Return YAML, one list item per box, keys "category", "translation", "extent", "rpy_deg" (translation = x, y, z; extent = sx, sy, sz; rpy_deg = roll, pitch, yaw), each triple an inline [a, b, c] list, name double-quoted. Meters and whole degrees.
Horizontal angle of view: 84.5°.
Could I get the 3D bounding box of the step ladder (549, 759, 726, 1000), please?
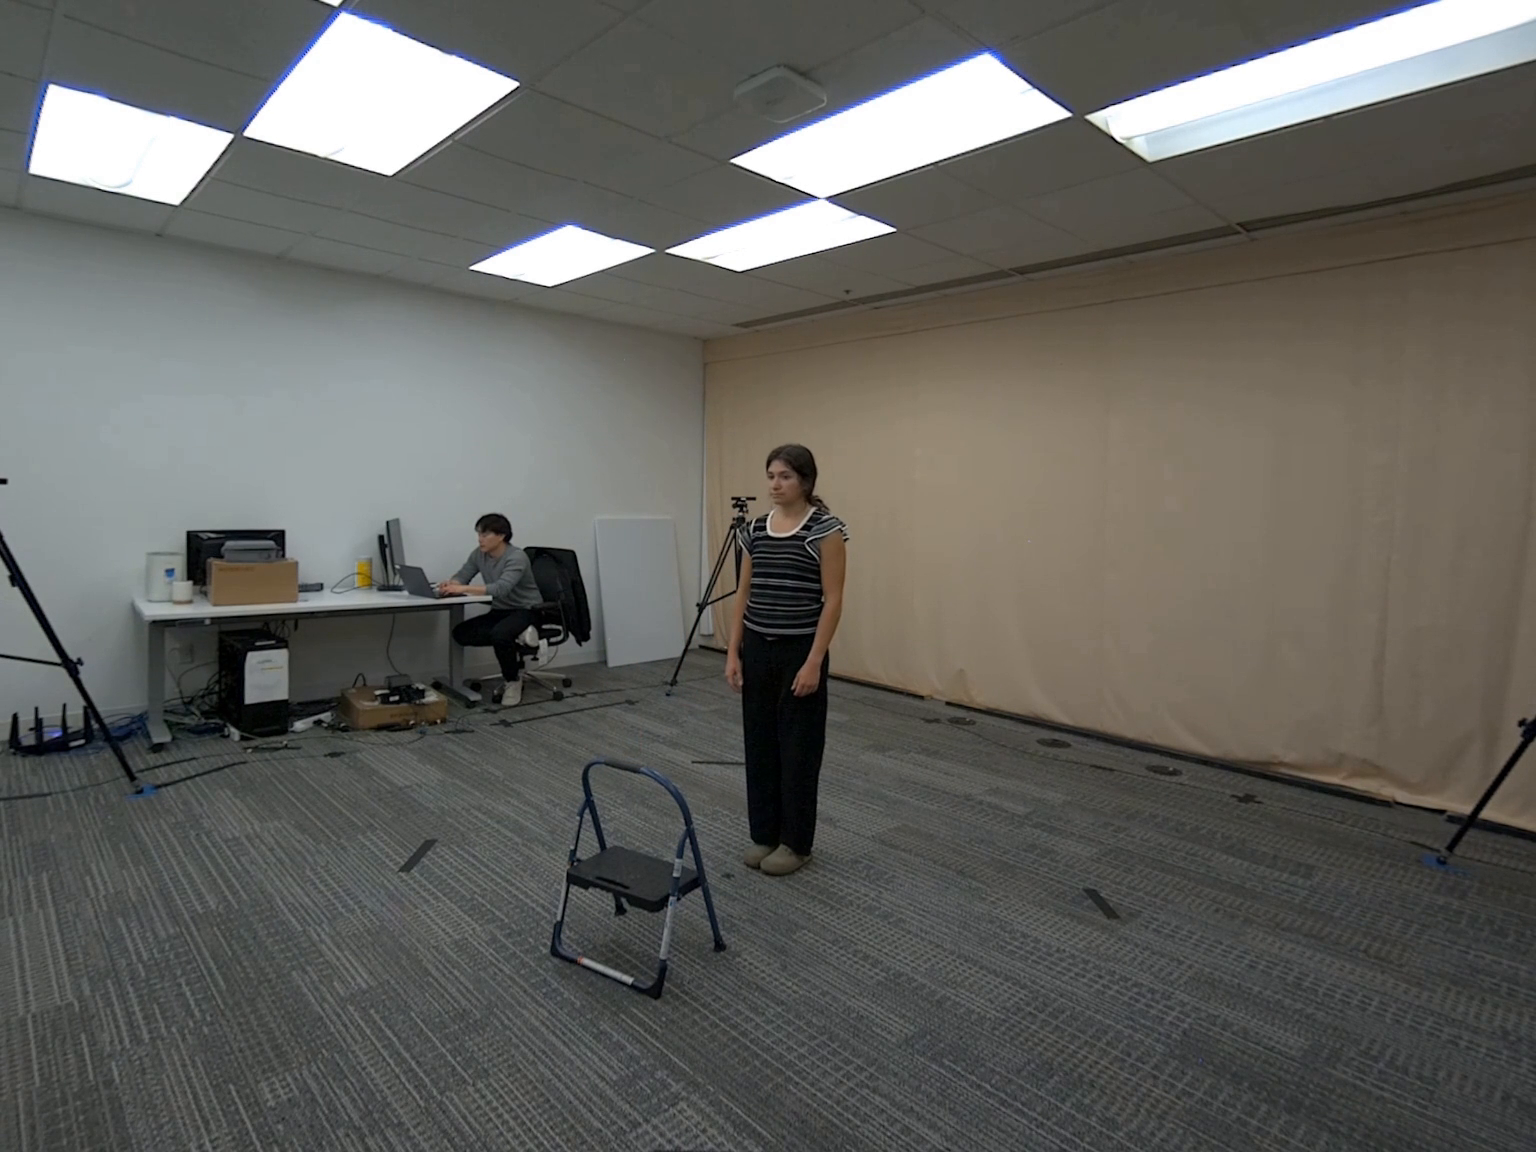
- category: "step ladder"
  translation: [-0.398, 0.850, 2.560]
  extent: [0.440, 0.605, 0.342]
  rpy_deg: [3, 4, 31]
